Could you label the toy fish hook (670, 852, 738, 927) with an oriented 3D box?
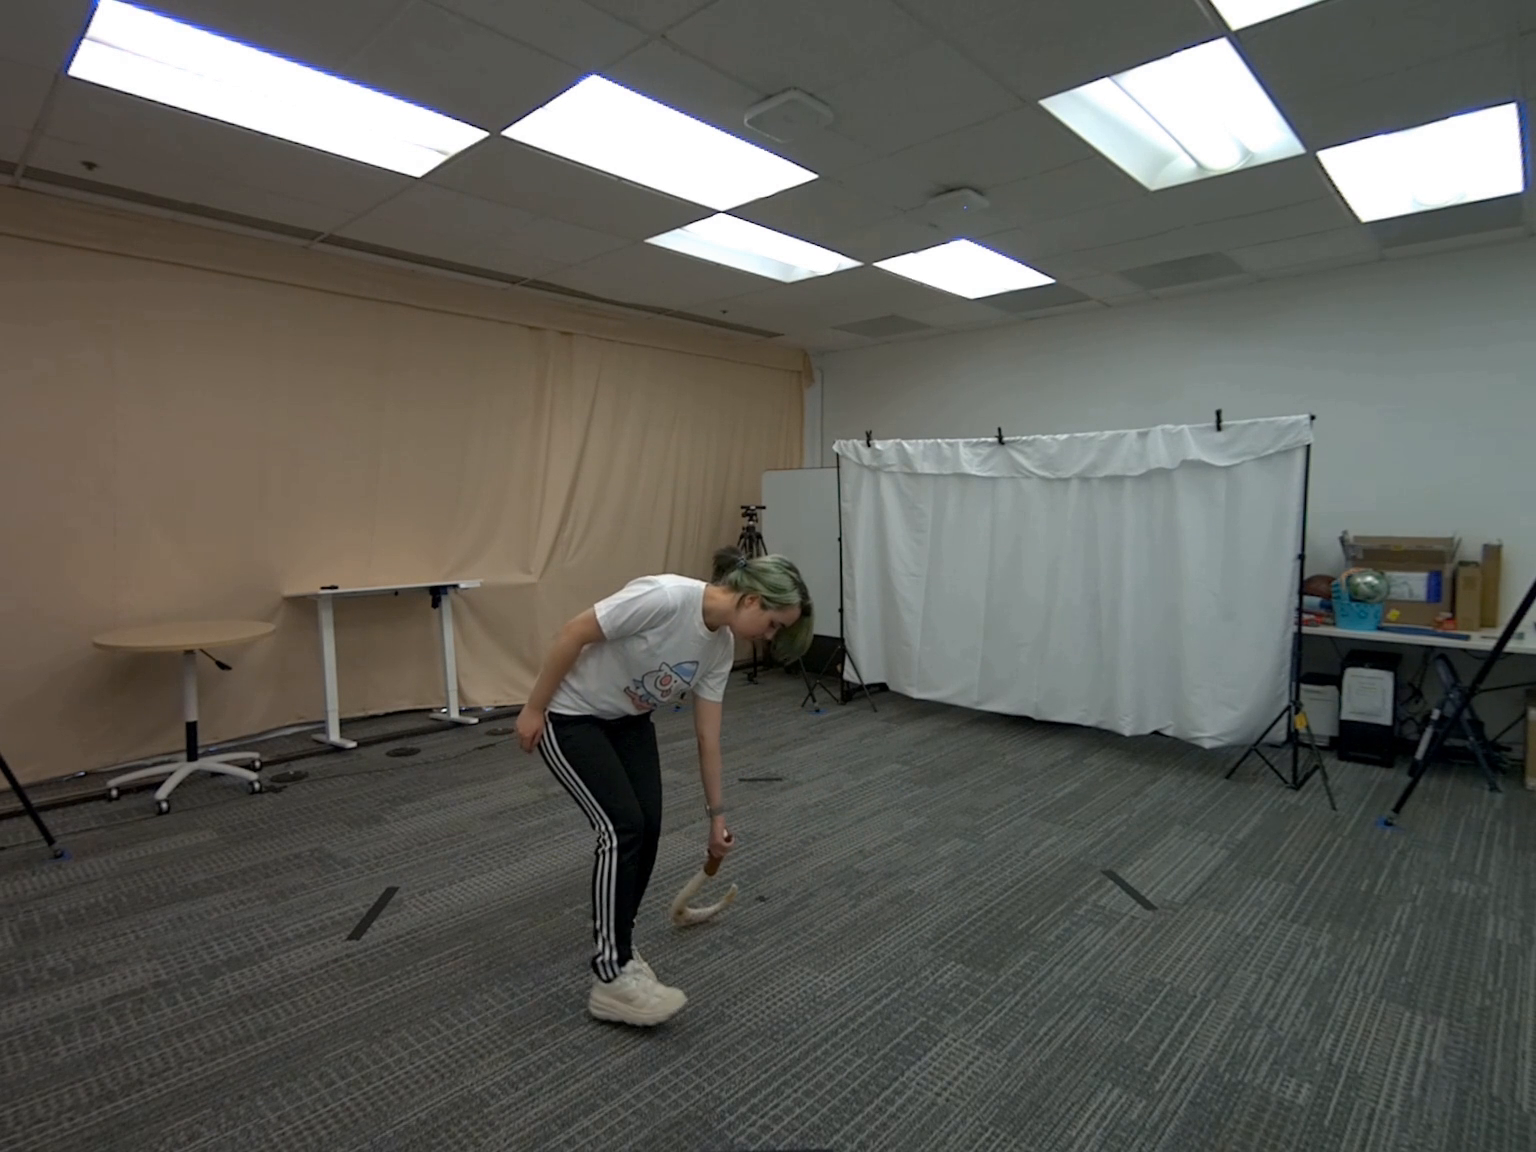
[{"bbox_3d":[-0.168,0.963,2.677,0.218,0.504,0.050,1,40,-31],"label":"toy fish hook"}]
